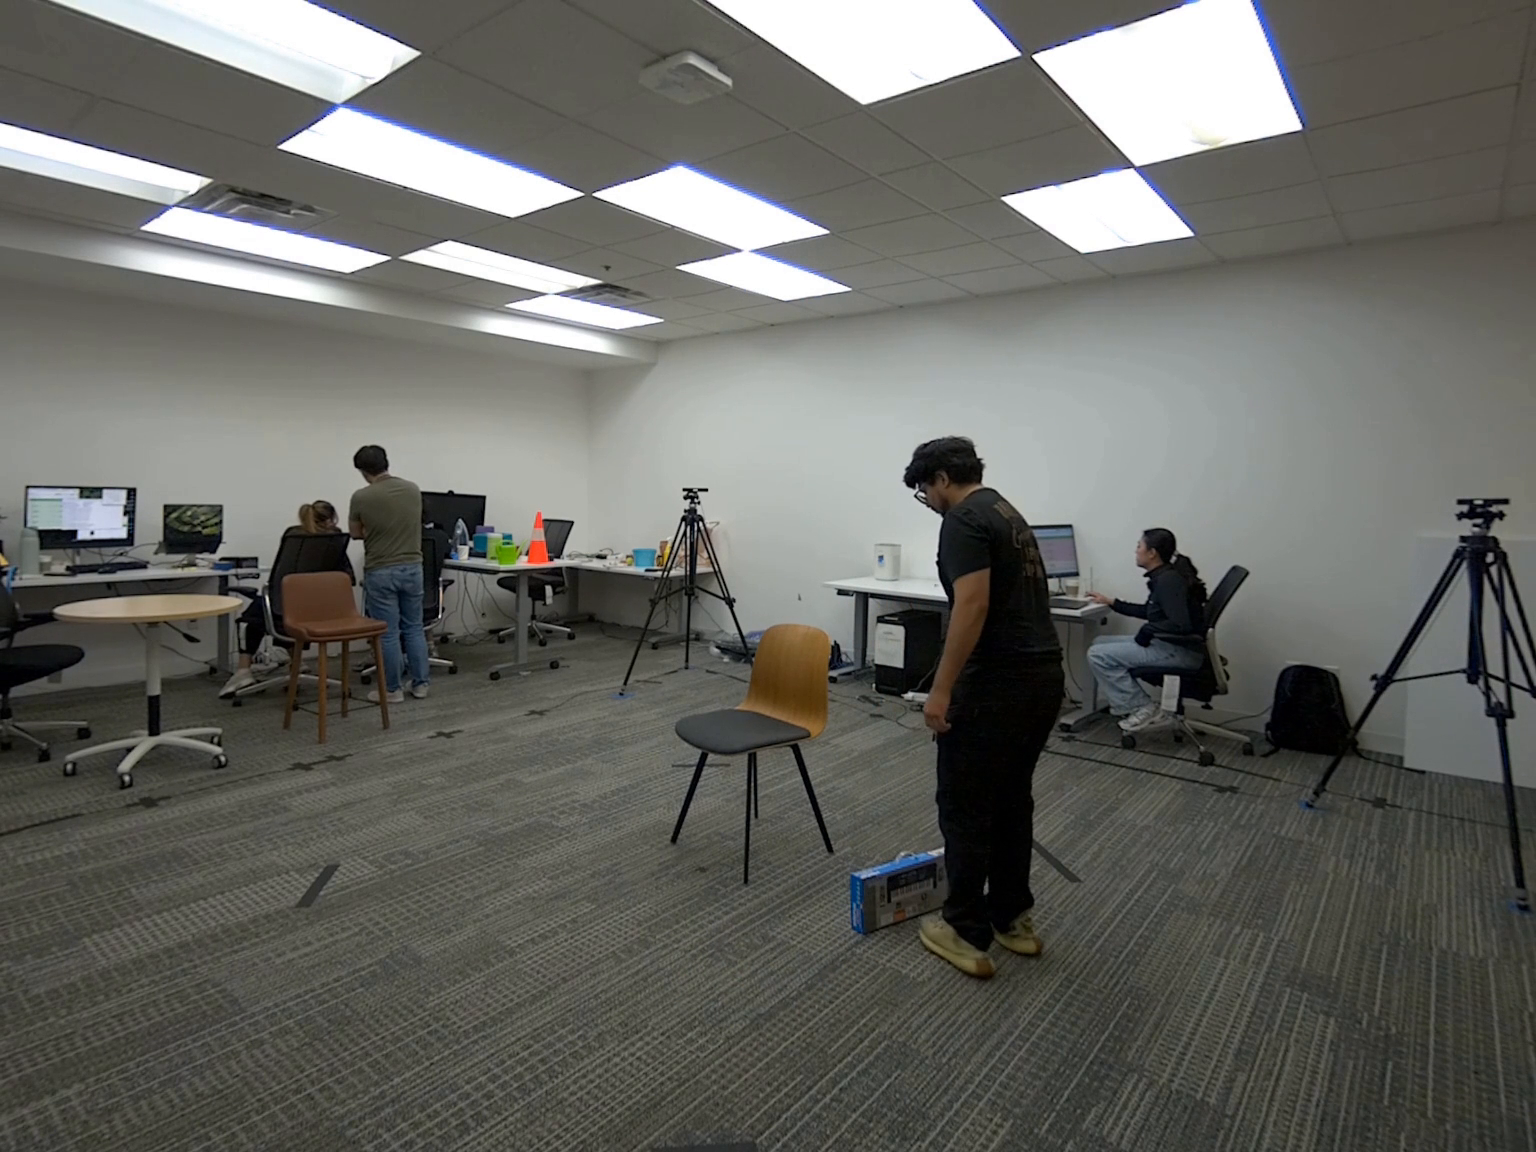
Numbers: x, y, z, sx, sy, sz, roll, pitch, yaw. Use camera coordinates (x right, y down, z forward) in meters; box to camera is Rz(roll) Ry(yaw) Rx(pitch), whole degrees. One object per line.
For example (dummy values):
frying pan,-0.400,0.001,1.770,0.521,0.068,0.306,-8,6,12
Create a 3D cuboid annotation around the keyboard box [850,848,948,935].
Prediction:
keyboard box,0.455,1.031,2.807,0.424,0.176,0.061,-2,1,-34
